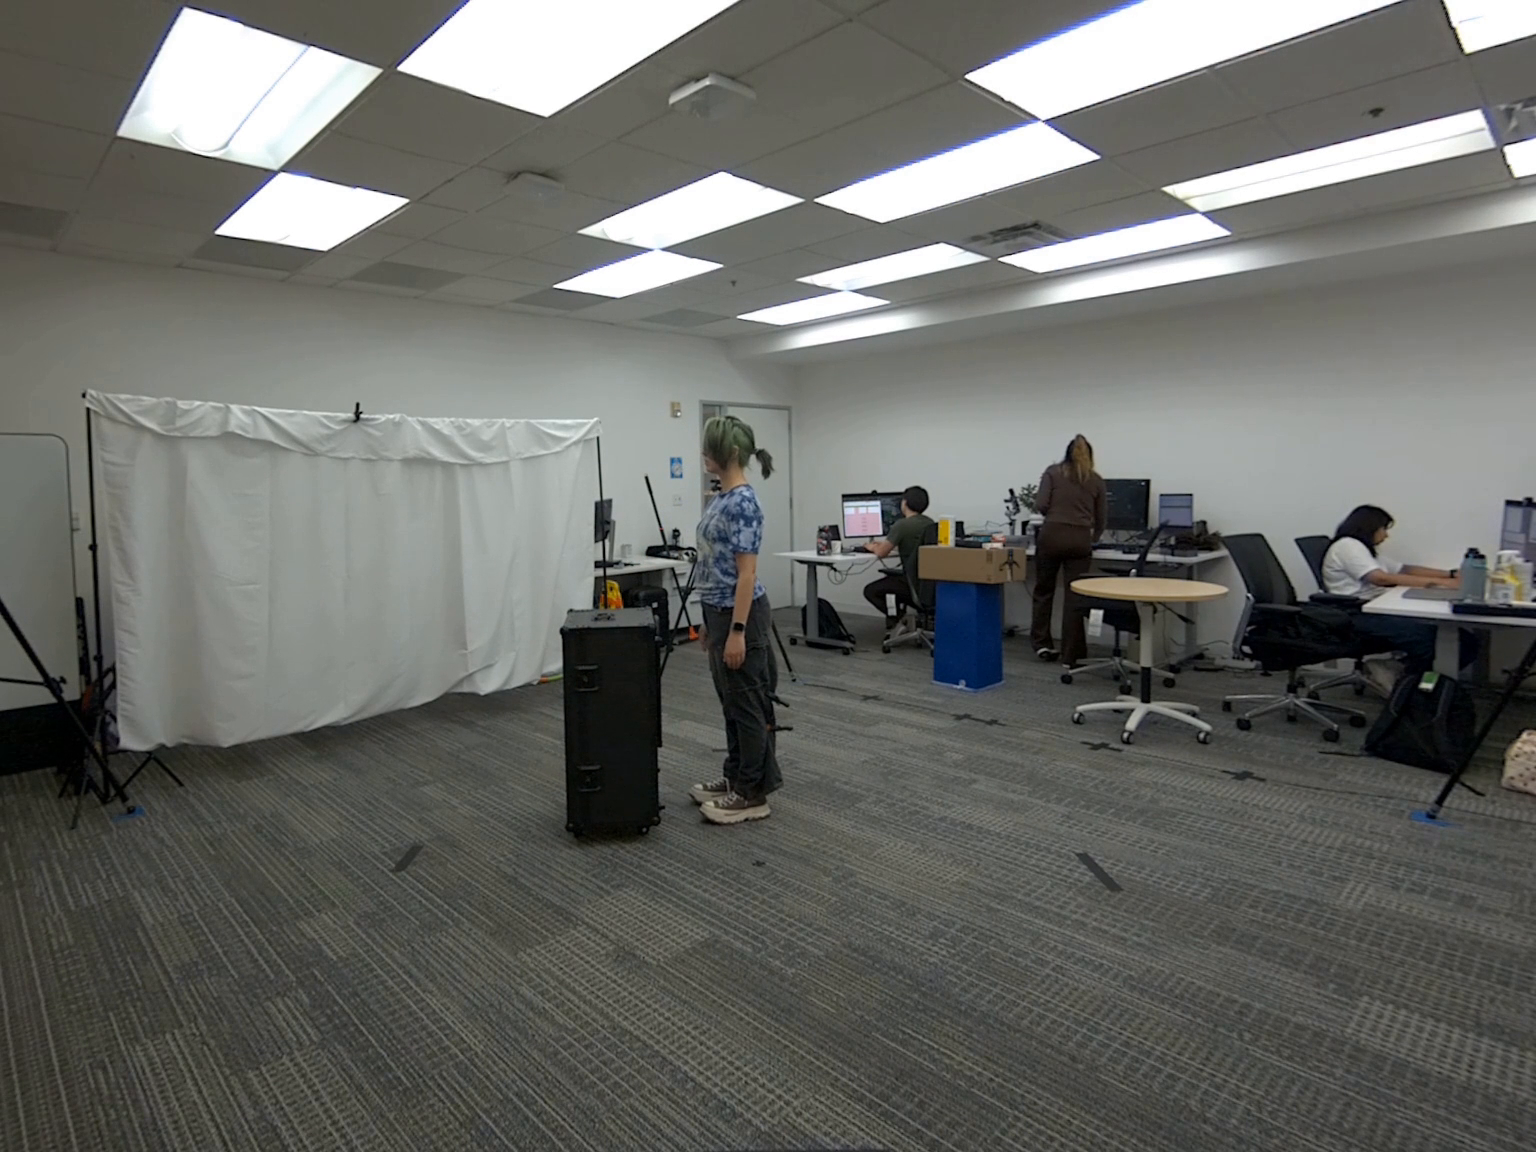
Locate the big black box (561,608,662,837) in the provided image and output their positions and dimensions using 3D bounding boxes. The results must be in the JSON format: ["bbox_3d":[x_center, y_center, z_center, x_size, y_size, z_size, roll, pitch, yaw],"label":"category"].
[{"bbox_3d":[-0.634,0.592,3.494,0.393,0.859,0.526,0,3,-8],"label":"big black box"}]
